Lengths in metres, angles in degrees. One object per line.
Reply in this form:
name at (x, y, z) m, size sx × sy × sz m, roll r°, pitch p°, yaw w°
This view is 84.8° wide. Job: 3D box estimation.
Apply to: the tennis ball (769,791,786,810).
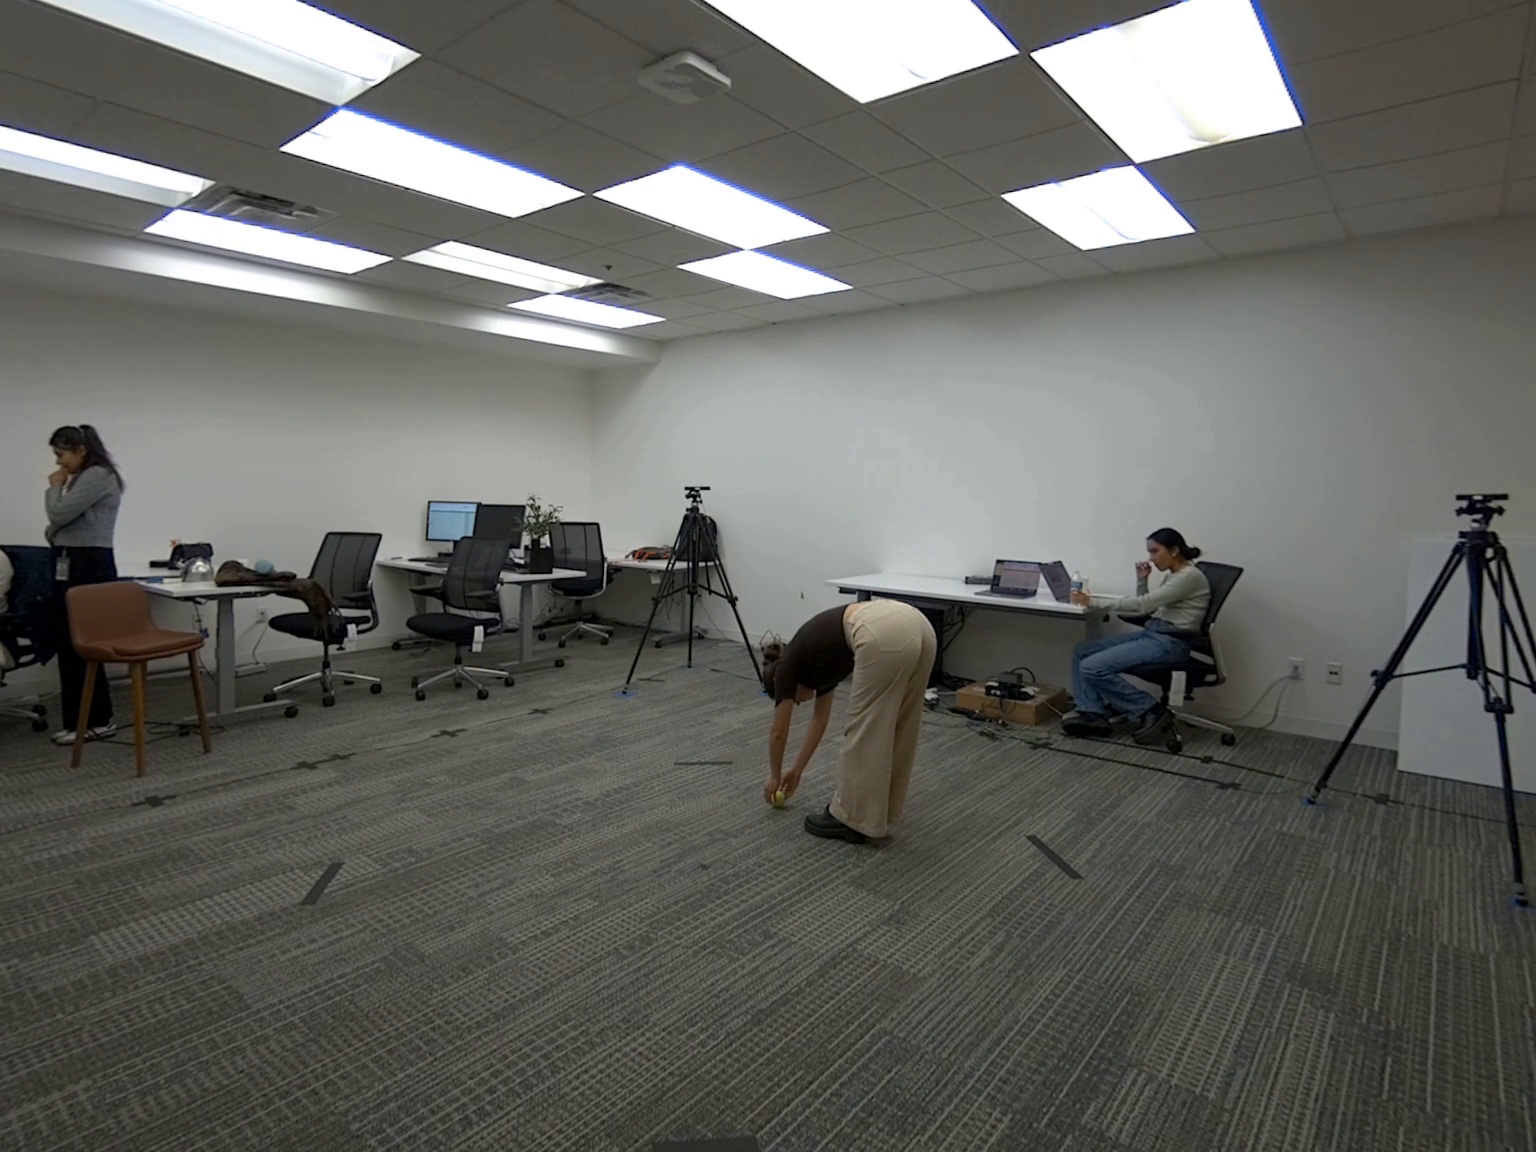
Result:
tennis ball at (0.036, 0.961, 3.708) m, size 0.066 × 0.066 × 0.067 m, roll 1°, pitch 4°, yaw -2°
